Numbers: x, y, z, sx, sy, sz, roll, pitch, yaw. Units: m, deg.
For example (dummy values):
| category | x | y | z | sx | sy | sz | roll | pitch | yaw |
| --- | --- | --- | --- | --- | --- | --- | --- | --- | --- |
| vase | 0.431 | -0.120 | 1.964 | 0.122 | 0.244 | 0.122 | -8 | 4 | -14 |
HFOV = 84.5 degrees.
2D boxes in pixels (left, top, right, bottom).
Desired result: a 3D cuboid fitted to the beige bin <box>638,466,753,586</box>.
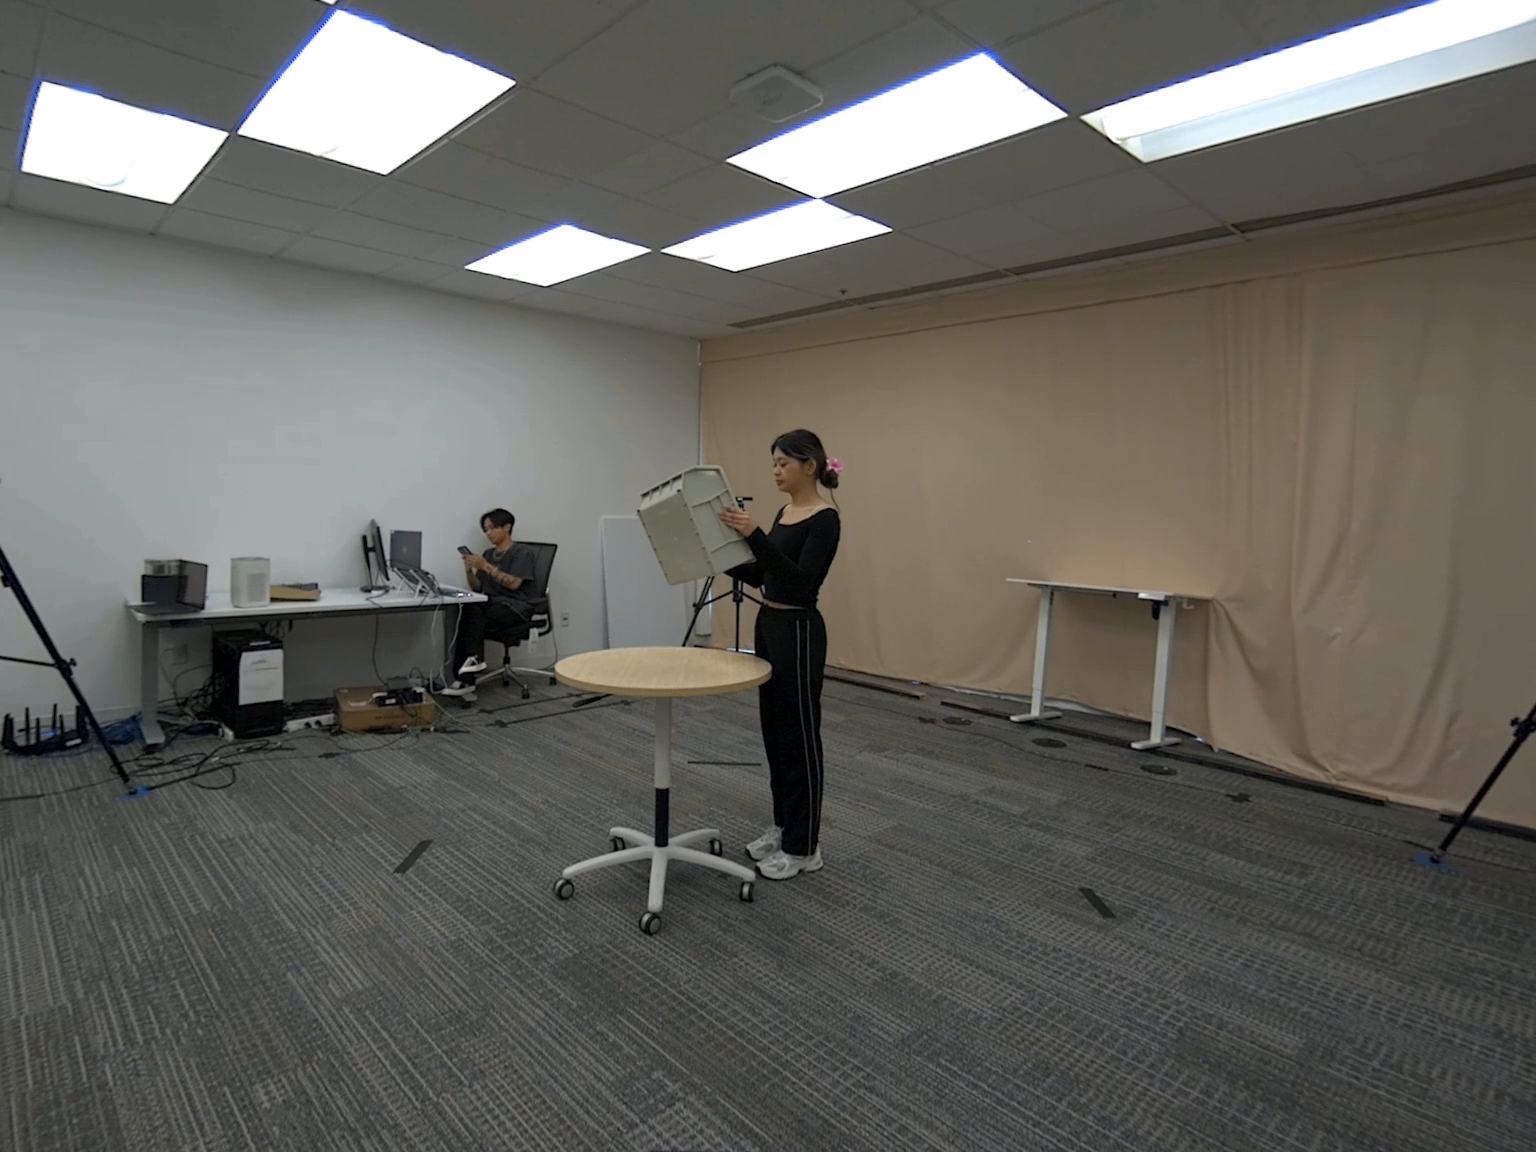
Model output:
| category | x | y | z | sx | sy | sz | roll | pitch | yaw |
| --- | --- | --- | --- | --- | --- | --- | --- | --- | --- |
| beige bin | -0.273 | -0.171 | 3.020 | 0.187 | 0.376 | 0.429 | -22 | 5 | -29 |
